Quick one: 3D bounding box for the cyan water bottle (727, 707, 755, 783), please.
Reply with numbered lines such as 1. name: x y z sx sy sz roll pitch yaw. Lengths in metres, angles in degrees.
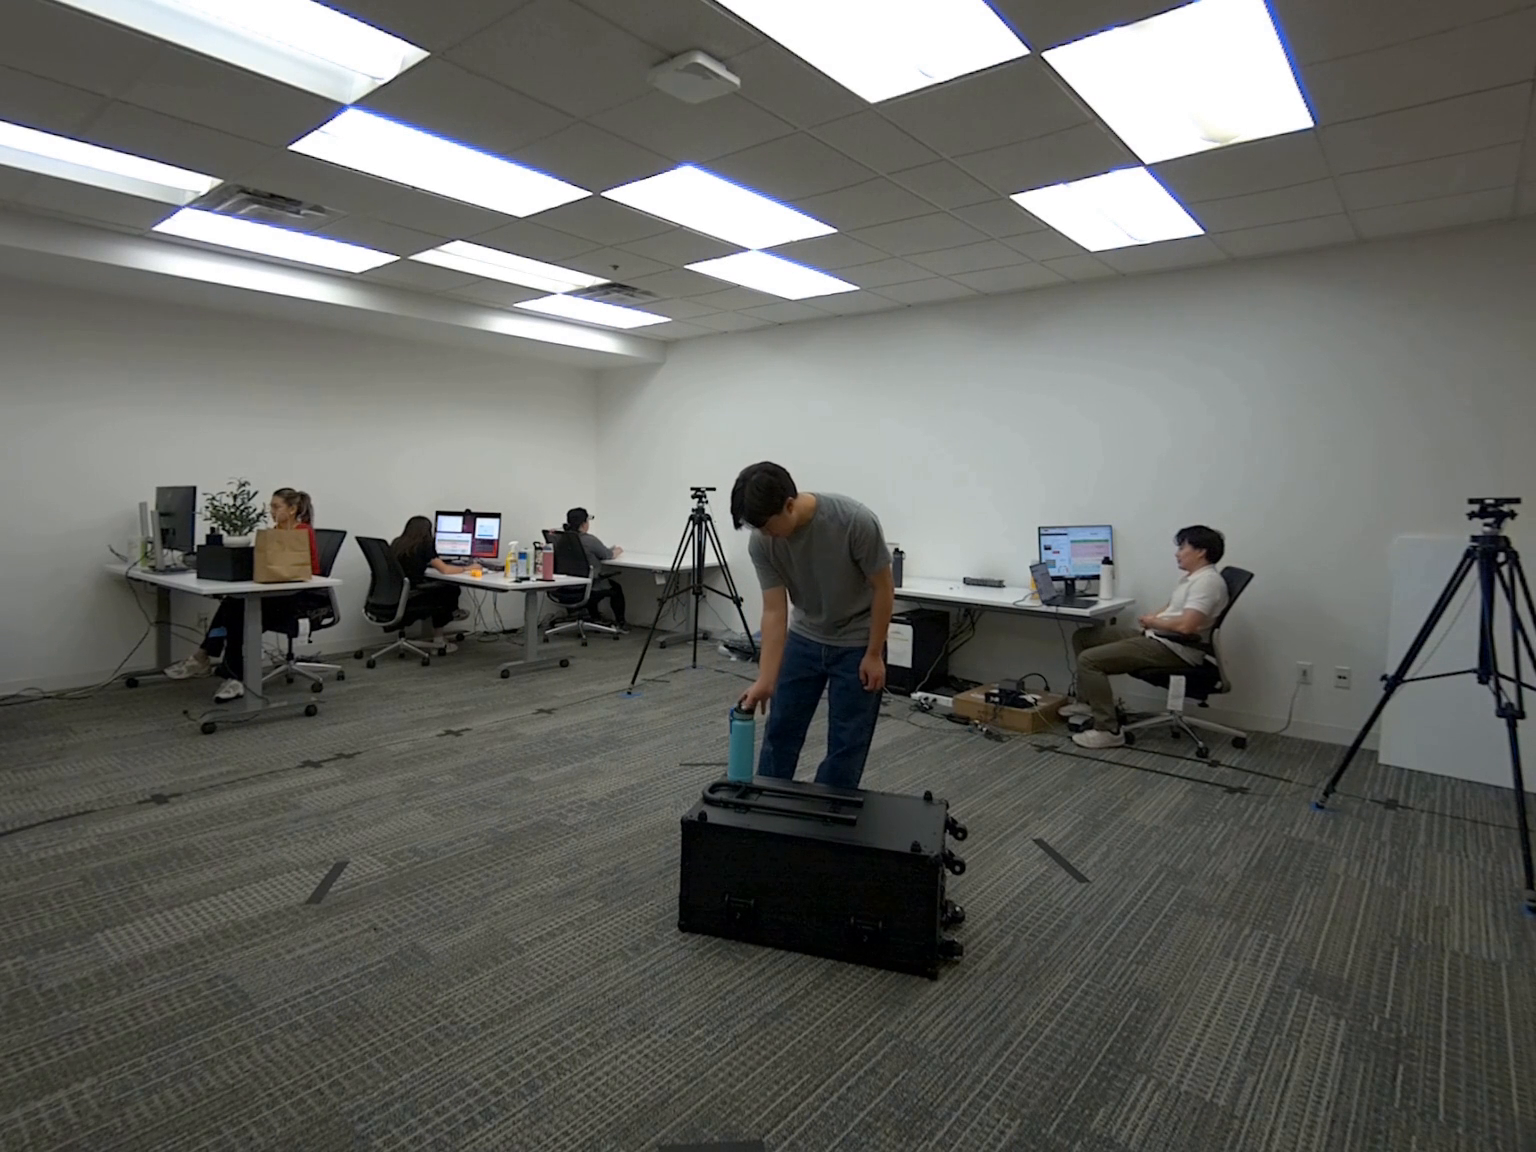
1. cyan water bottle: -0.102 0.583 2.977 0.092 0.282 0.093 2 6 -2
